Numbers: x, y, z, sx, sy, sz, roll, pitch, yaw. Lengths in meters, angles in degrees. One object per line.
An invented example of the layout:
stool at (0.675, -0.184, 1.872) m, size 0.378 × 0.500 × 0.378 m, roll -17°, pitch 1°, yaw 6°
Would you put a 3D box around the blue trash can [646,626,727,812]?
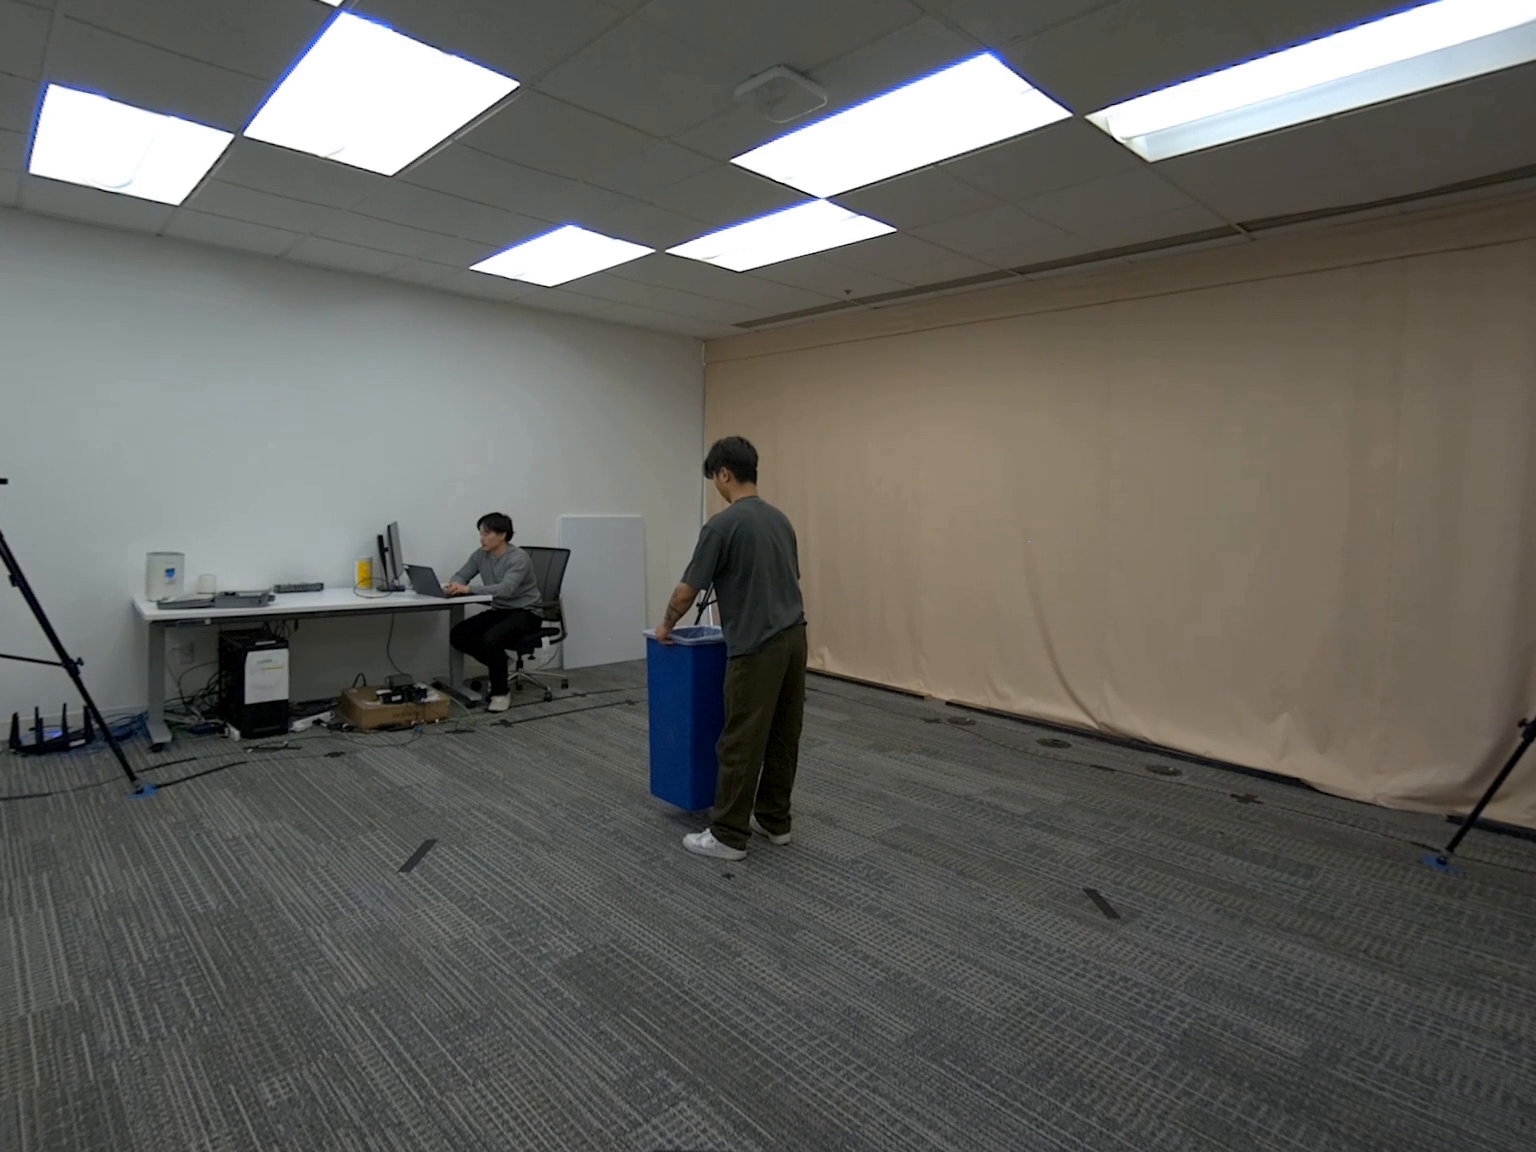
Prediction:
blue trash can at (-0.311, 0.595, 3.630) m, size 0.365 × 0.713 × 0.387 m, roll 0°, pitch 1°, yaw -41°
